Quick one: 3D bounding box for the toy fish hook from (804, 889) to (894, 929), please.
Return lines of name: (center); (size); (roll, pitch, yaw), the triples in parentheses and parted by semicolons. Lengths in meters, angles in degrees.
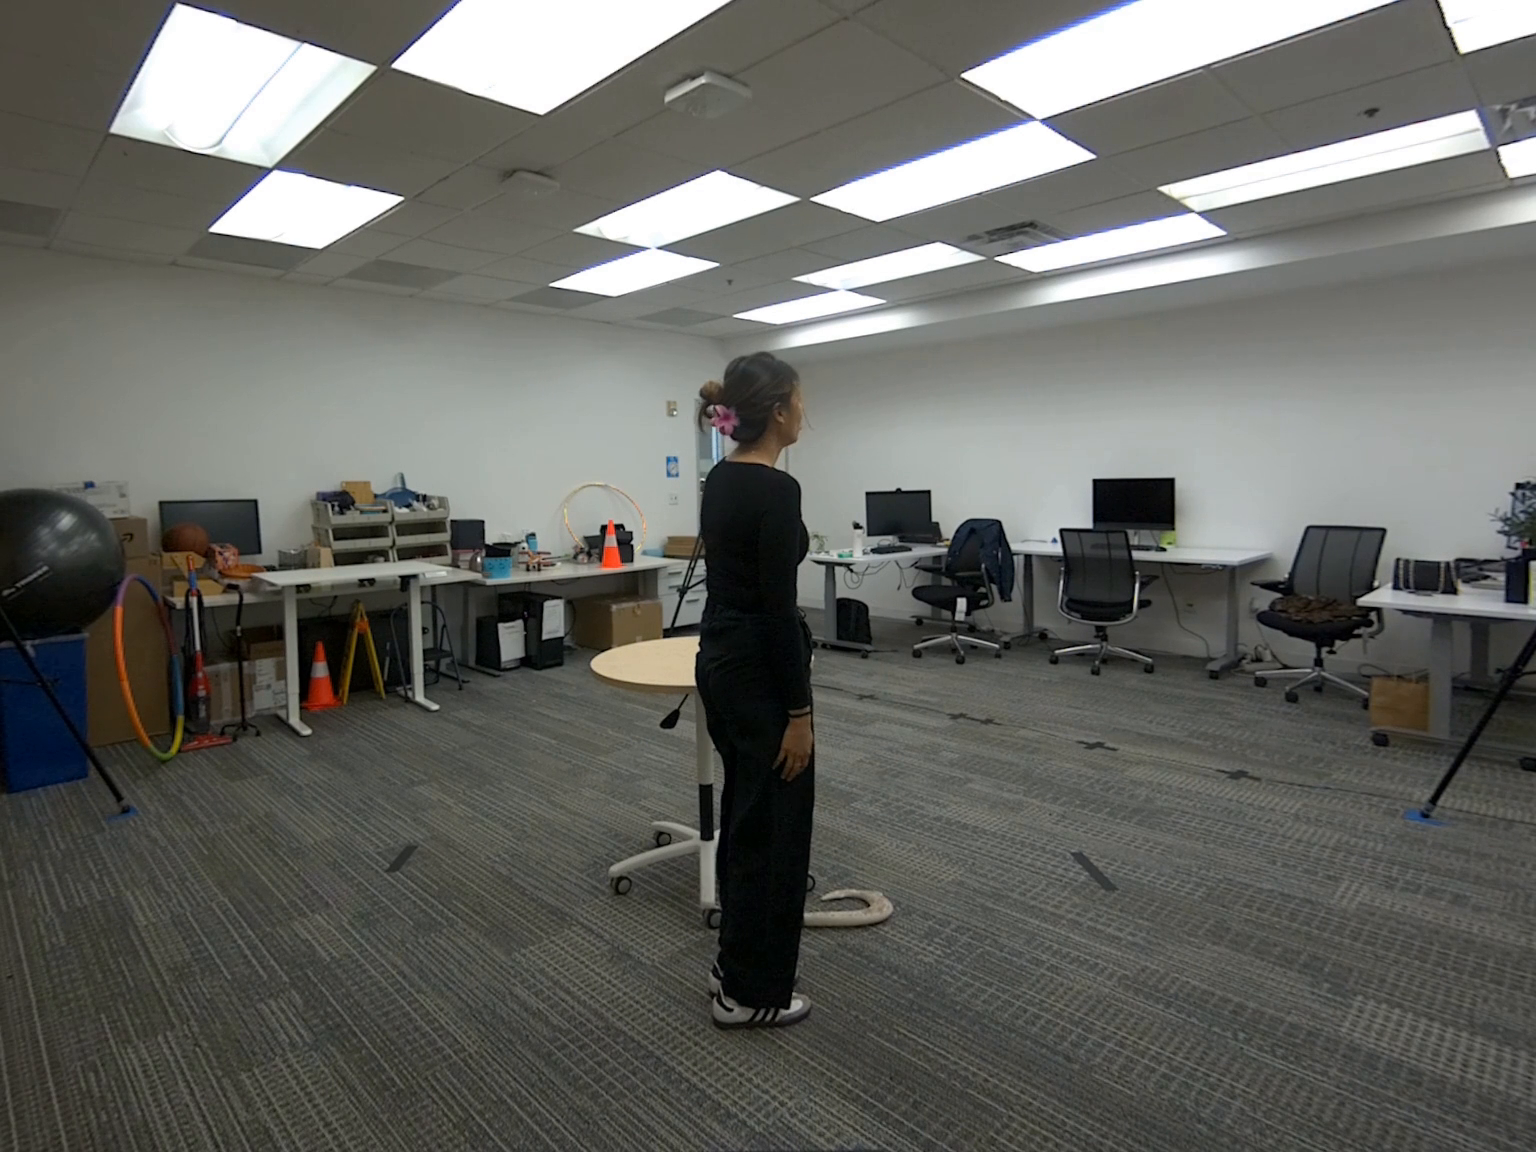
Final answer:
toy fish hook: (0.150, 1.068, 2.718); (0.500, 0.048, 0.227); (-2, -2, -14)
